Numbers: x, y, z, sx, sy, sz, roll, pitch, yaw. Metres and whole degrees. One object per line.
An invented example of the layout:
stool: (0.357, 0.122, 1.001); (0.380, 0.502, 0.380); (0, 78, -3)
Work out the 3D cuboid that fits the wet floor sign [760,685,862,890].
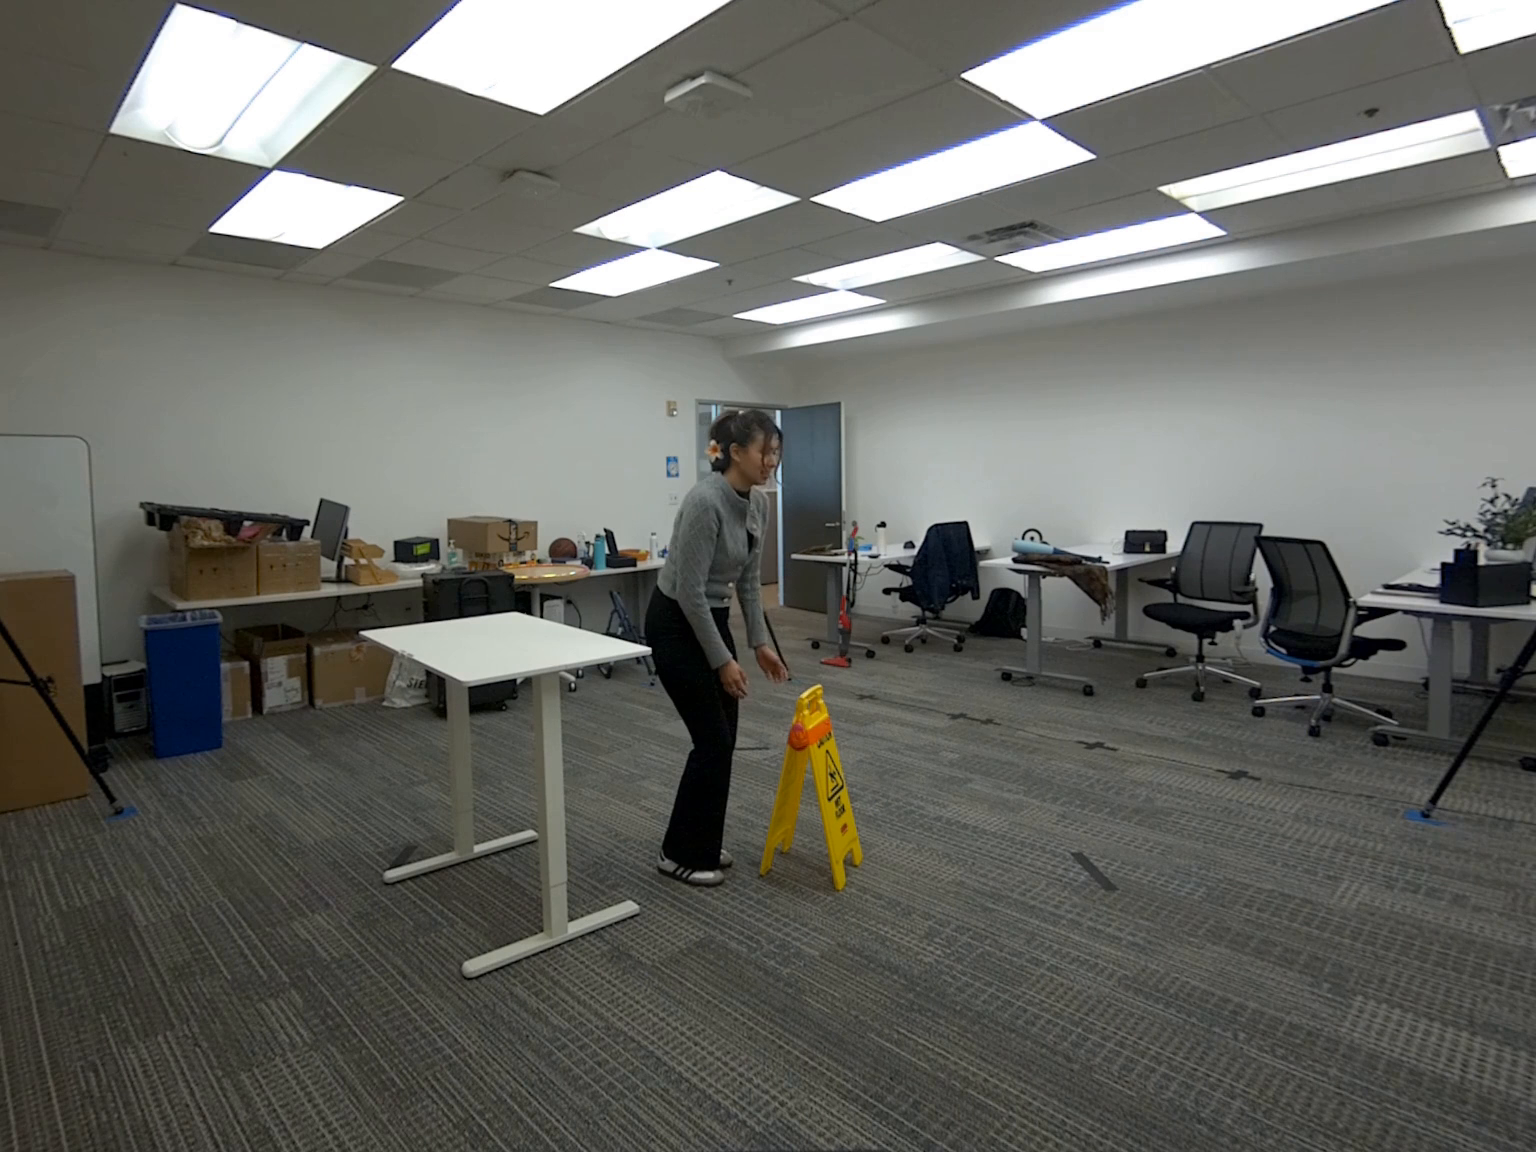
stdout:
wet floor sign: (0.157, 0.716, 3.045); (0.296, 0.643, 0.277); (2, 6, 25)
